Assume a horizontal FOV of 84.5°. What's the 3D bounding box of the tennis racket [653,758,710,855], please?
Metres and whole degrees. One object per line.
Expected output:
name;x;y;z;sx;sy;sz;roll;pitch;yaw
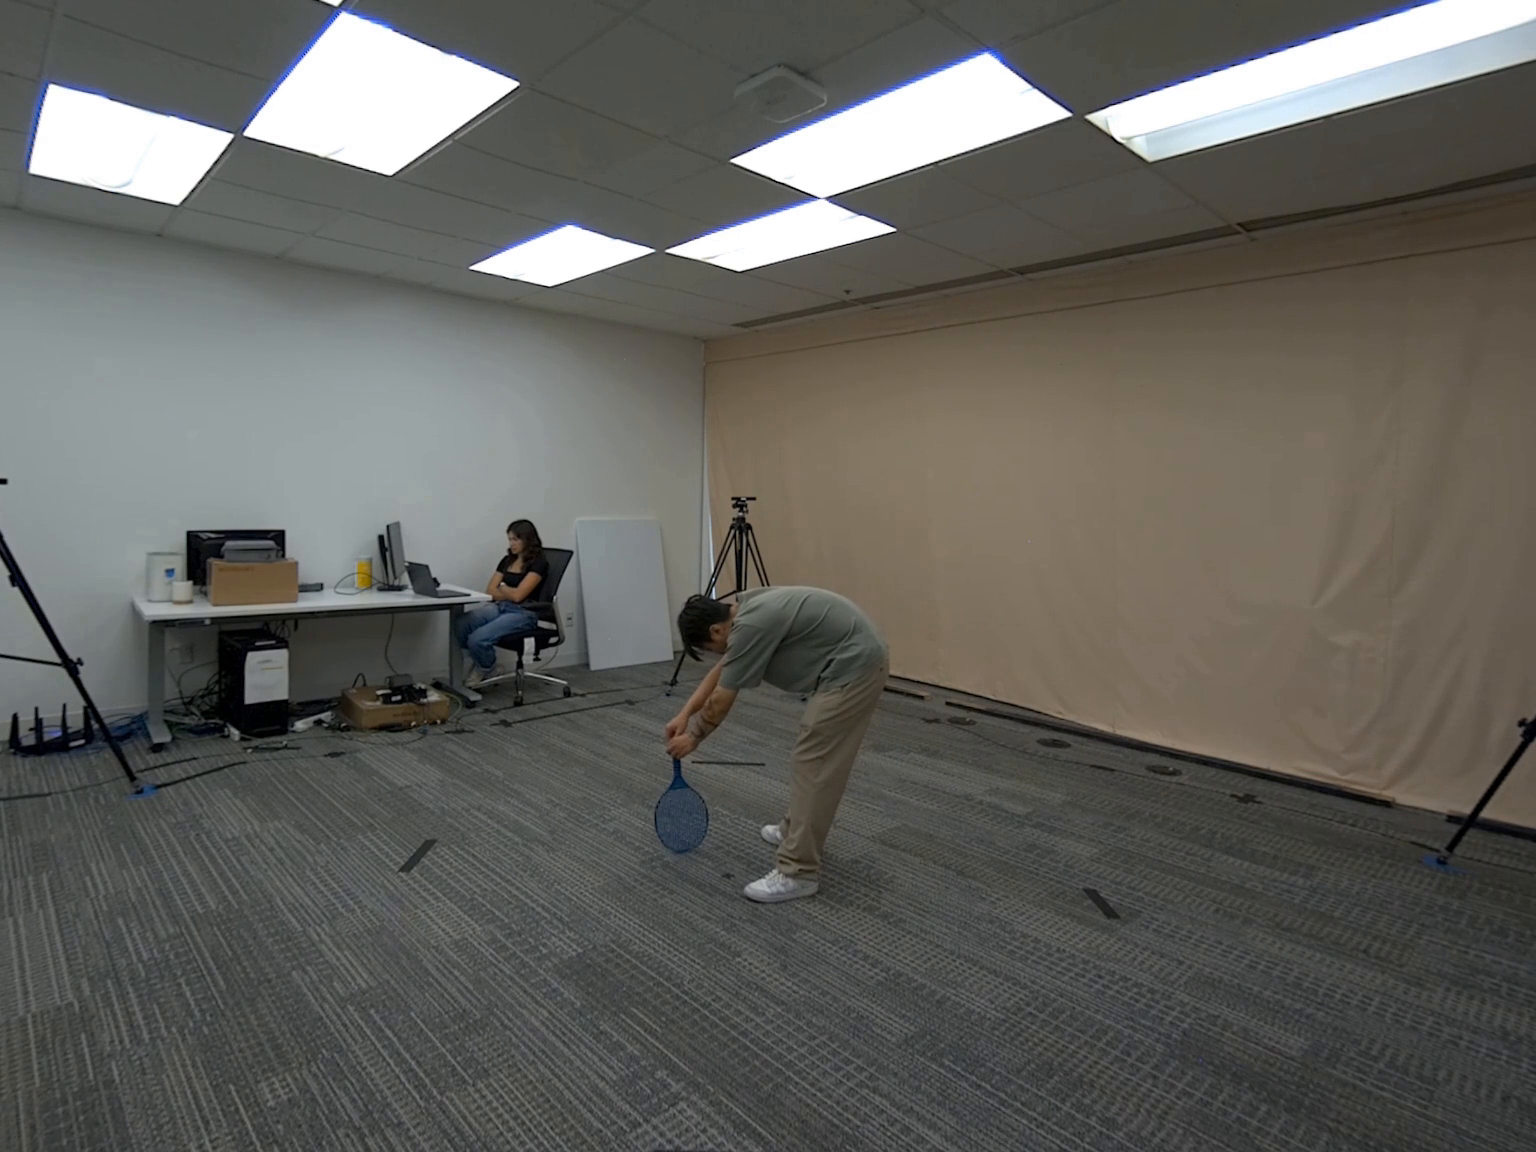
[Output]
tennis racket;-0.344;0.871;3.288;0.212;0.432;0.032;-2;3;-7
